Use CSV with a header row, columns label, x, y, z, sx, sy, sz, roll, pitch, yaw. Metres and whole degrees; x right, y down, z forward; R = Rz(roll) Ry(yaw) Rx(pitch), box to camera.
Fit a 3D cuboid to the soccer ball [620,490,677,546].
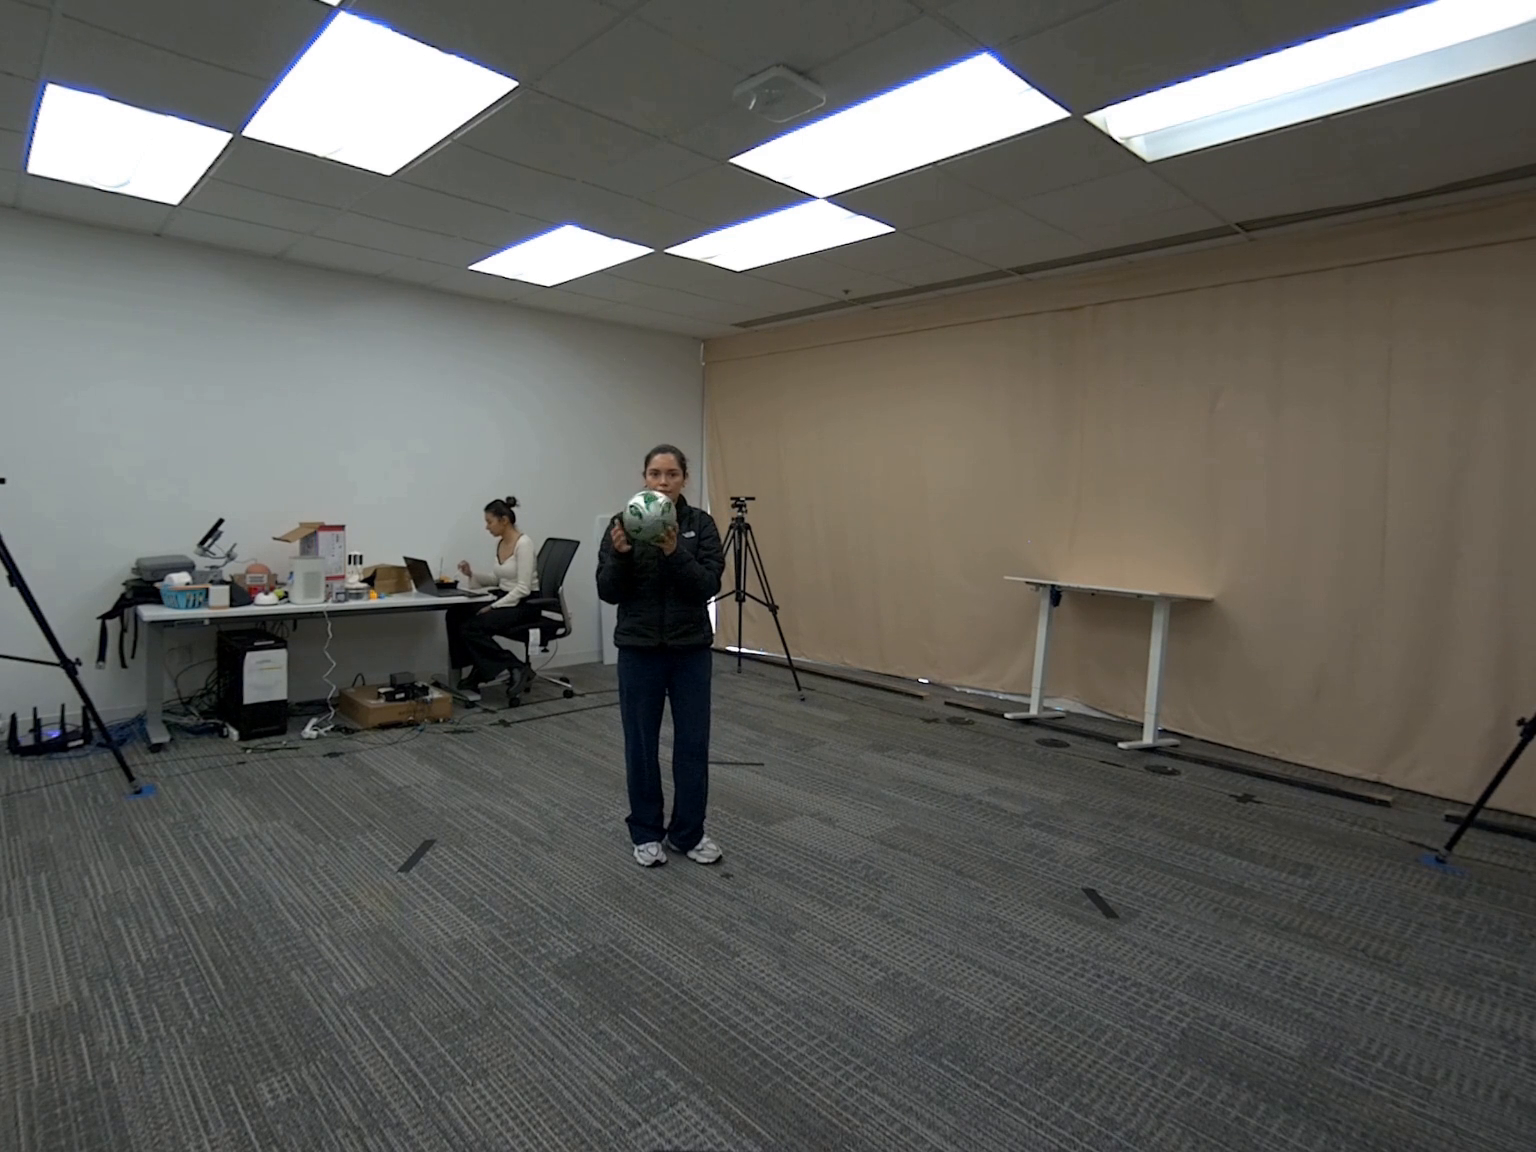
label,x,y,z,sx,sy,sz,roll,pitch,yaw
soccer ball,-0.433,-0.203,2.958,0.187,0.187,0.188,1,4,-1
